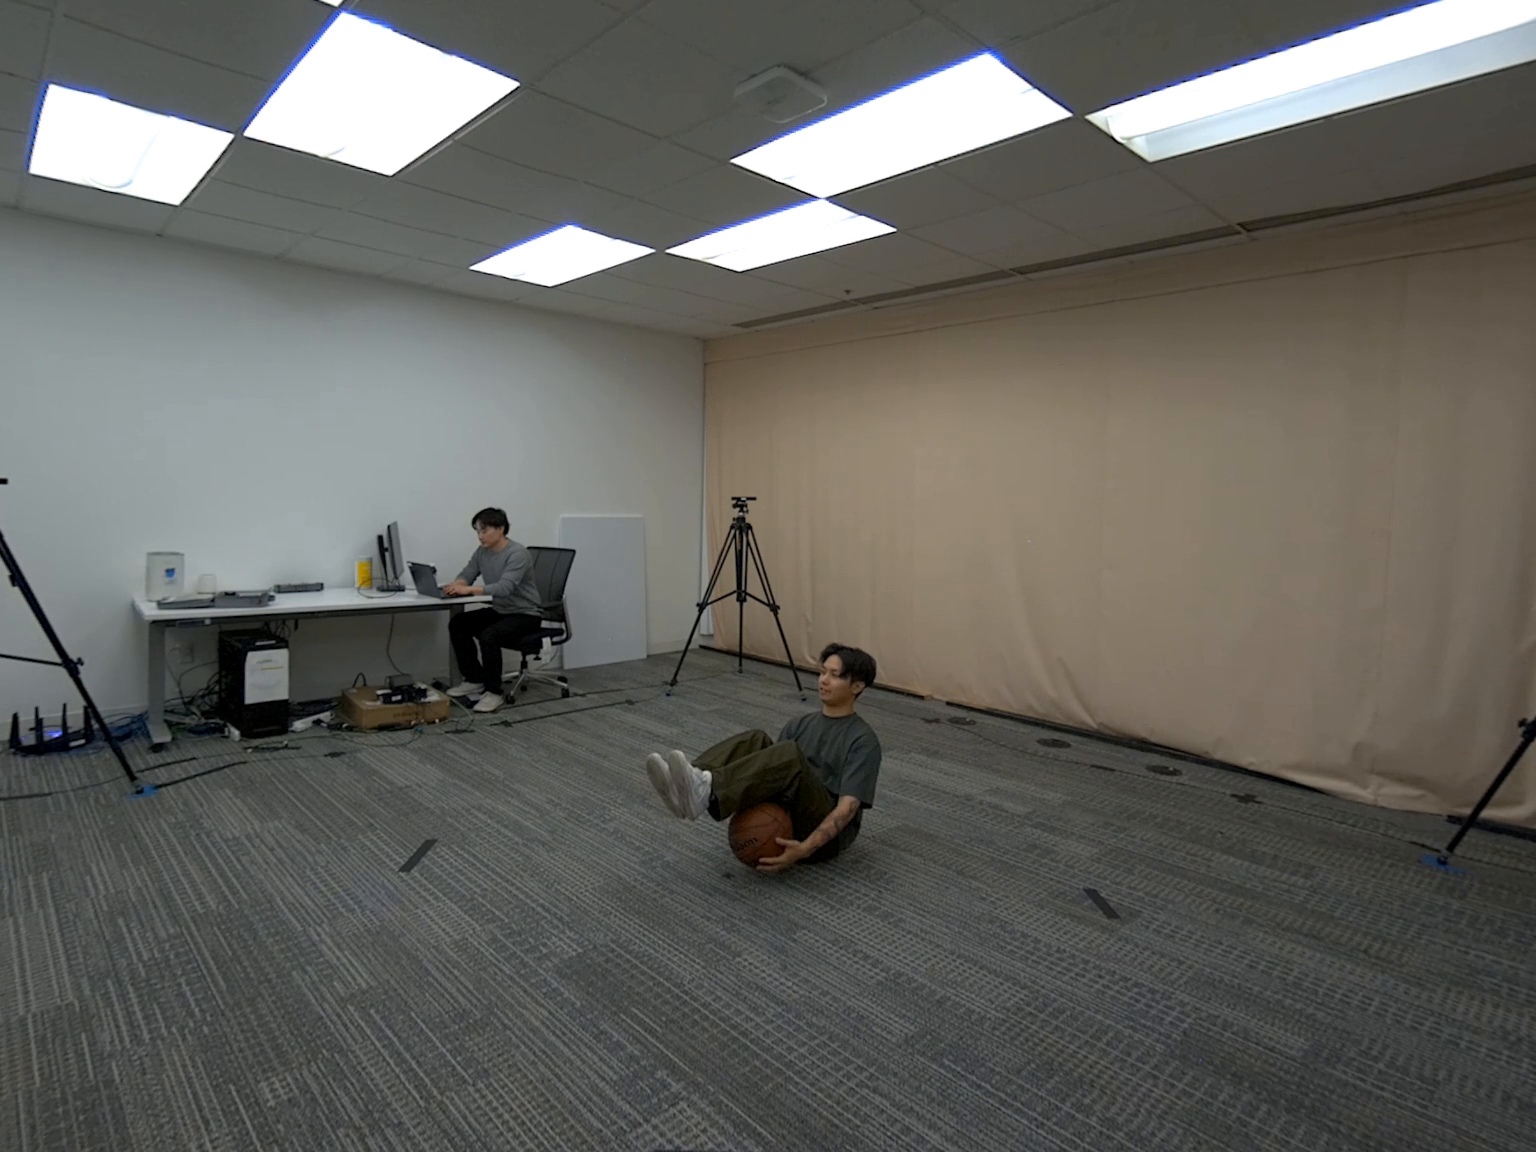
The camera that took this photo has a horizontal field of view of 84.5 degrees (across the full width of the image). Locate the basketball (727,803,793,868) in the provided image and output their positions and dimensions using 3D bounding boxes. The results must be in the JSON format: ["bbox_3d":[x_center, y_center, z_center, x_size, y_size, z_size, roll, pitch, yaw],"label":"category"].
[{"bbox_3d":[-0.047,0.928,3.078,0.236,0.235,0.237,1,4,-1],"label":"basketball"}]
